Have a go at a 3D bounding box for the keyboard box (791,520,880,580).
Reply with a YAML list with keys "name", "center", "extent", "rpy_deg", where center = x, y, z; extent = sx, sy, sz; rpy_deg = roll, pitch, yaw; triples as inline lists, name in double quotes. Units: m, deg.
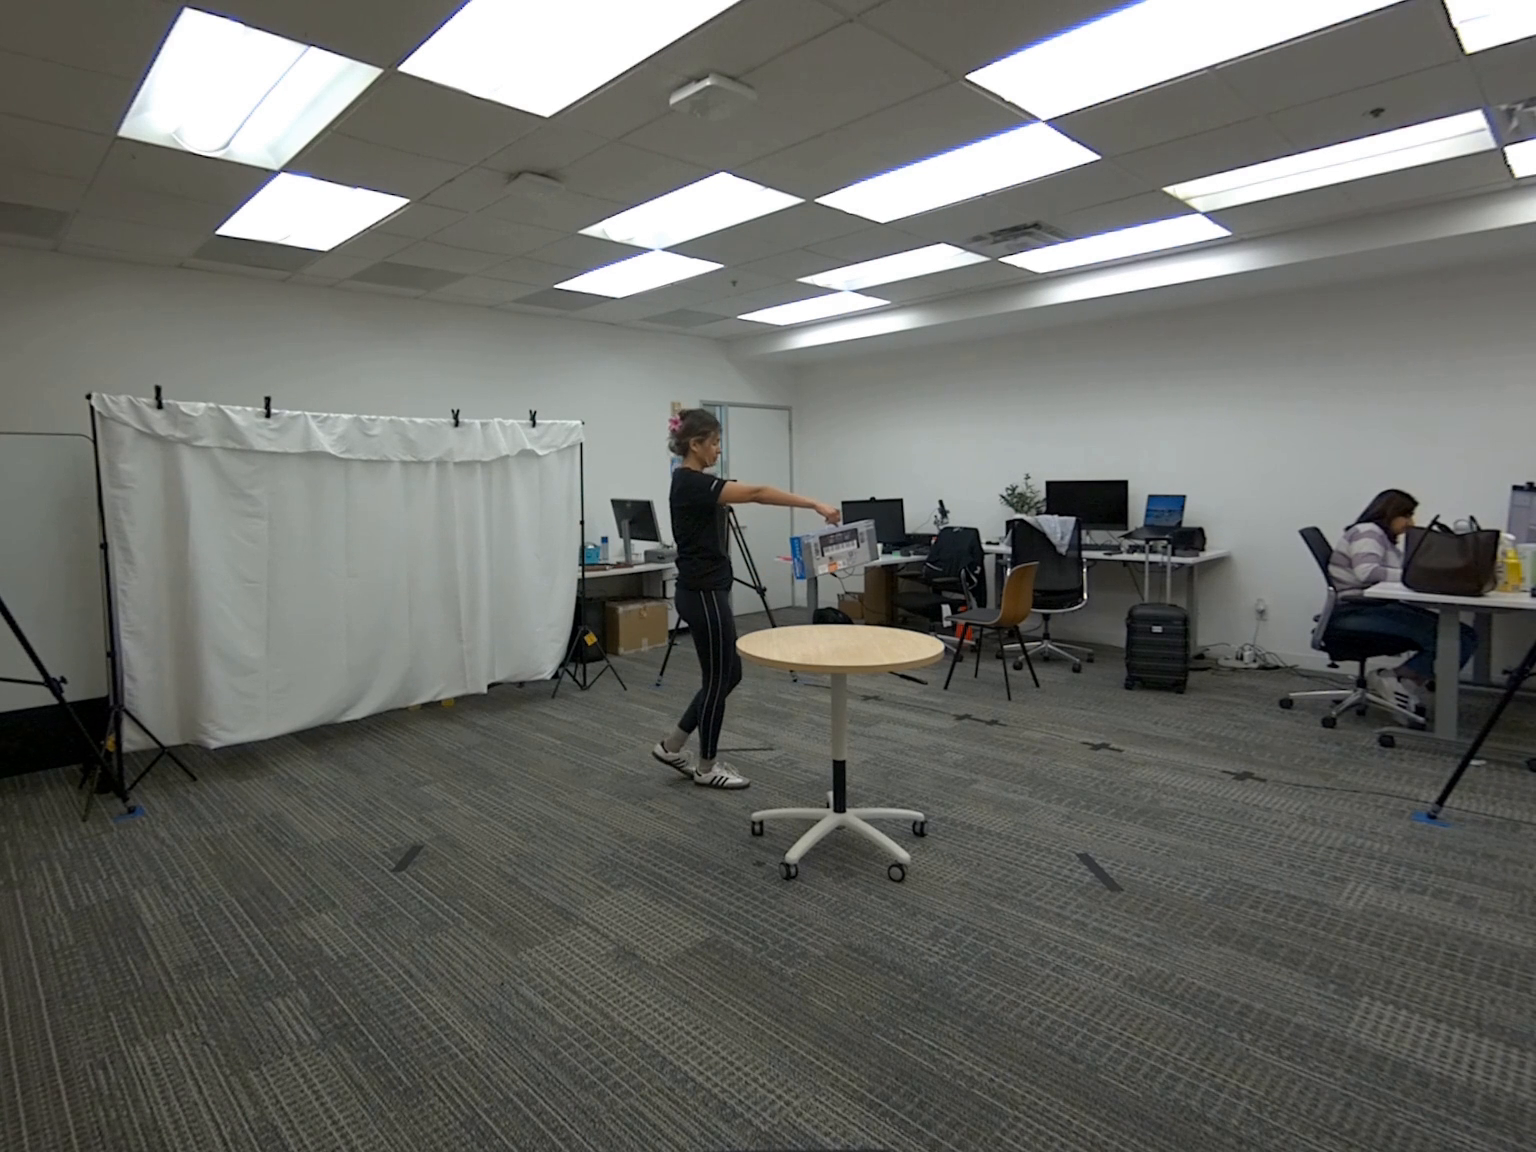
- name: "keyboard box"
  center: [0.276, -0.107, 3.502]
  extent: [0.427, 0.175, 0.061]
  rpy_deg: [-14, 7, -39]
